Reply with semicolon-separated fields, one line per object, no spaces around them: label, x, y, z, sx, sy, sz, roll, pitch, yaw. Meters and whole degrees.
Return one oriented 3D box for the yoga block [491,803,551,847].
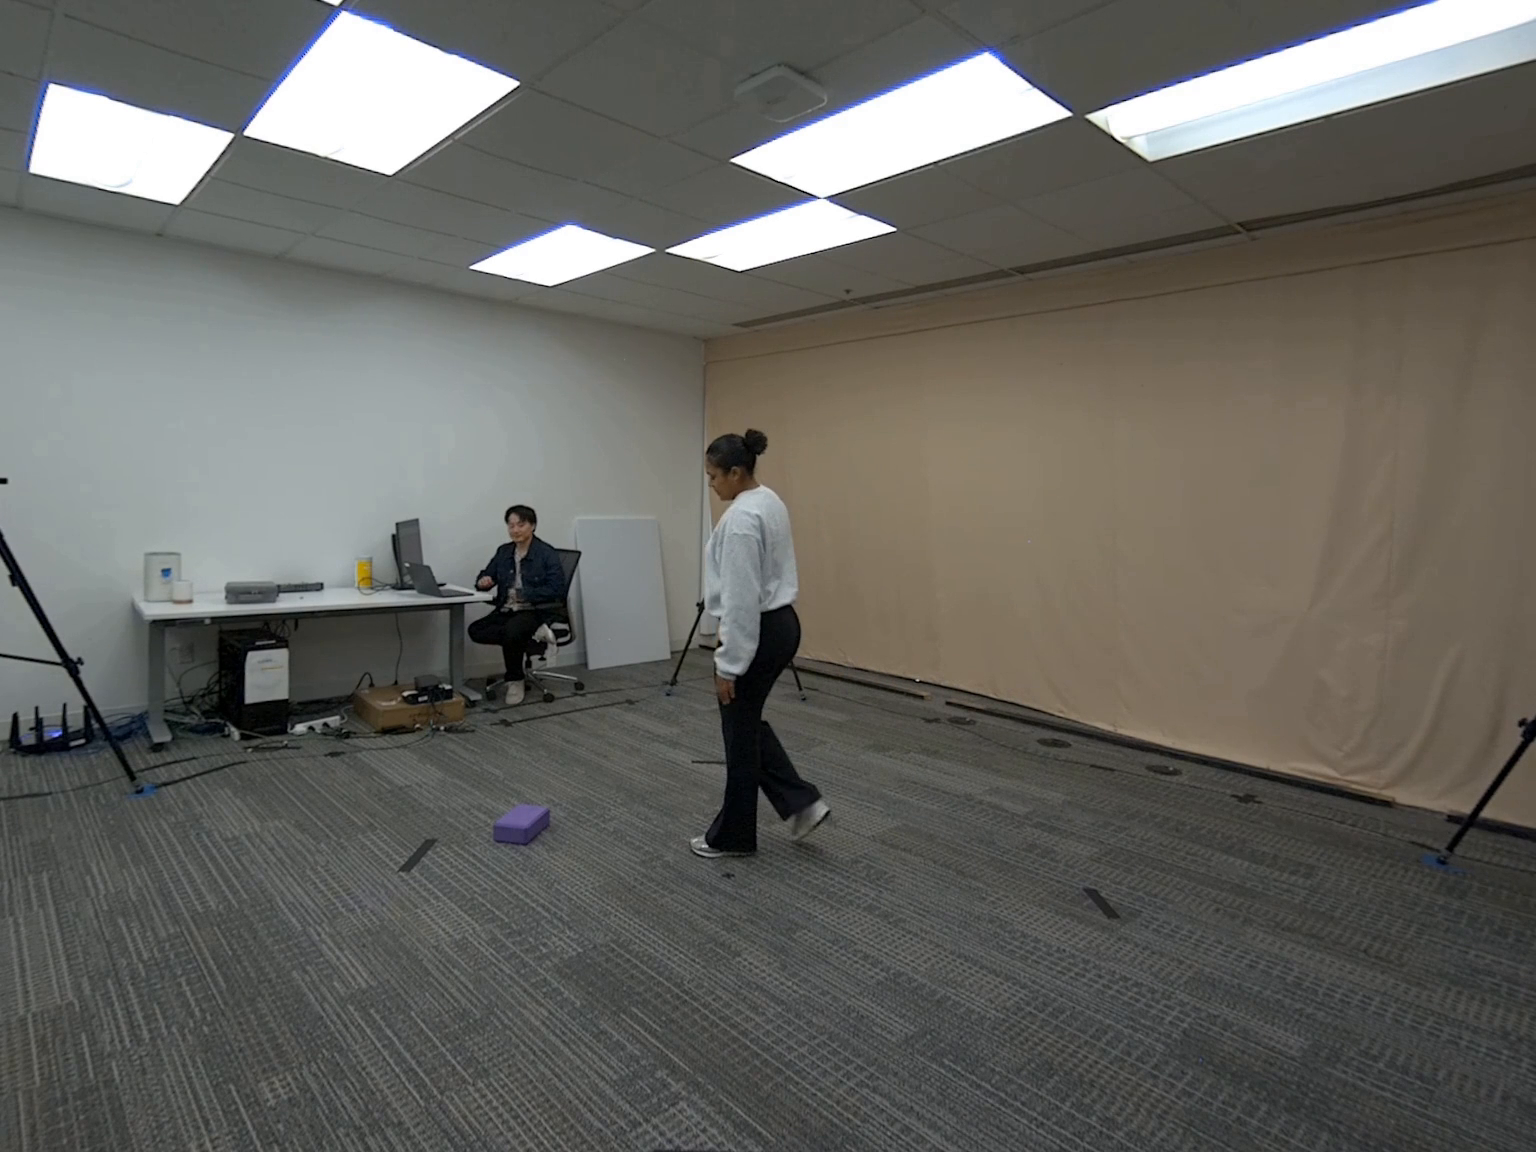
yoga block;-1.009;1.011;3.451;0.150;0.076;0.228;3;5;10
